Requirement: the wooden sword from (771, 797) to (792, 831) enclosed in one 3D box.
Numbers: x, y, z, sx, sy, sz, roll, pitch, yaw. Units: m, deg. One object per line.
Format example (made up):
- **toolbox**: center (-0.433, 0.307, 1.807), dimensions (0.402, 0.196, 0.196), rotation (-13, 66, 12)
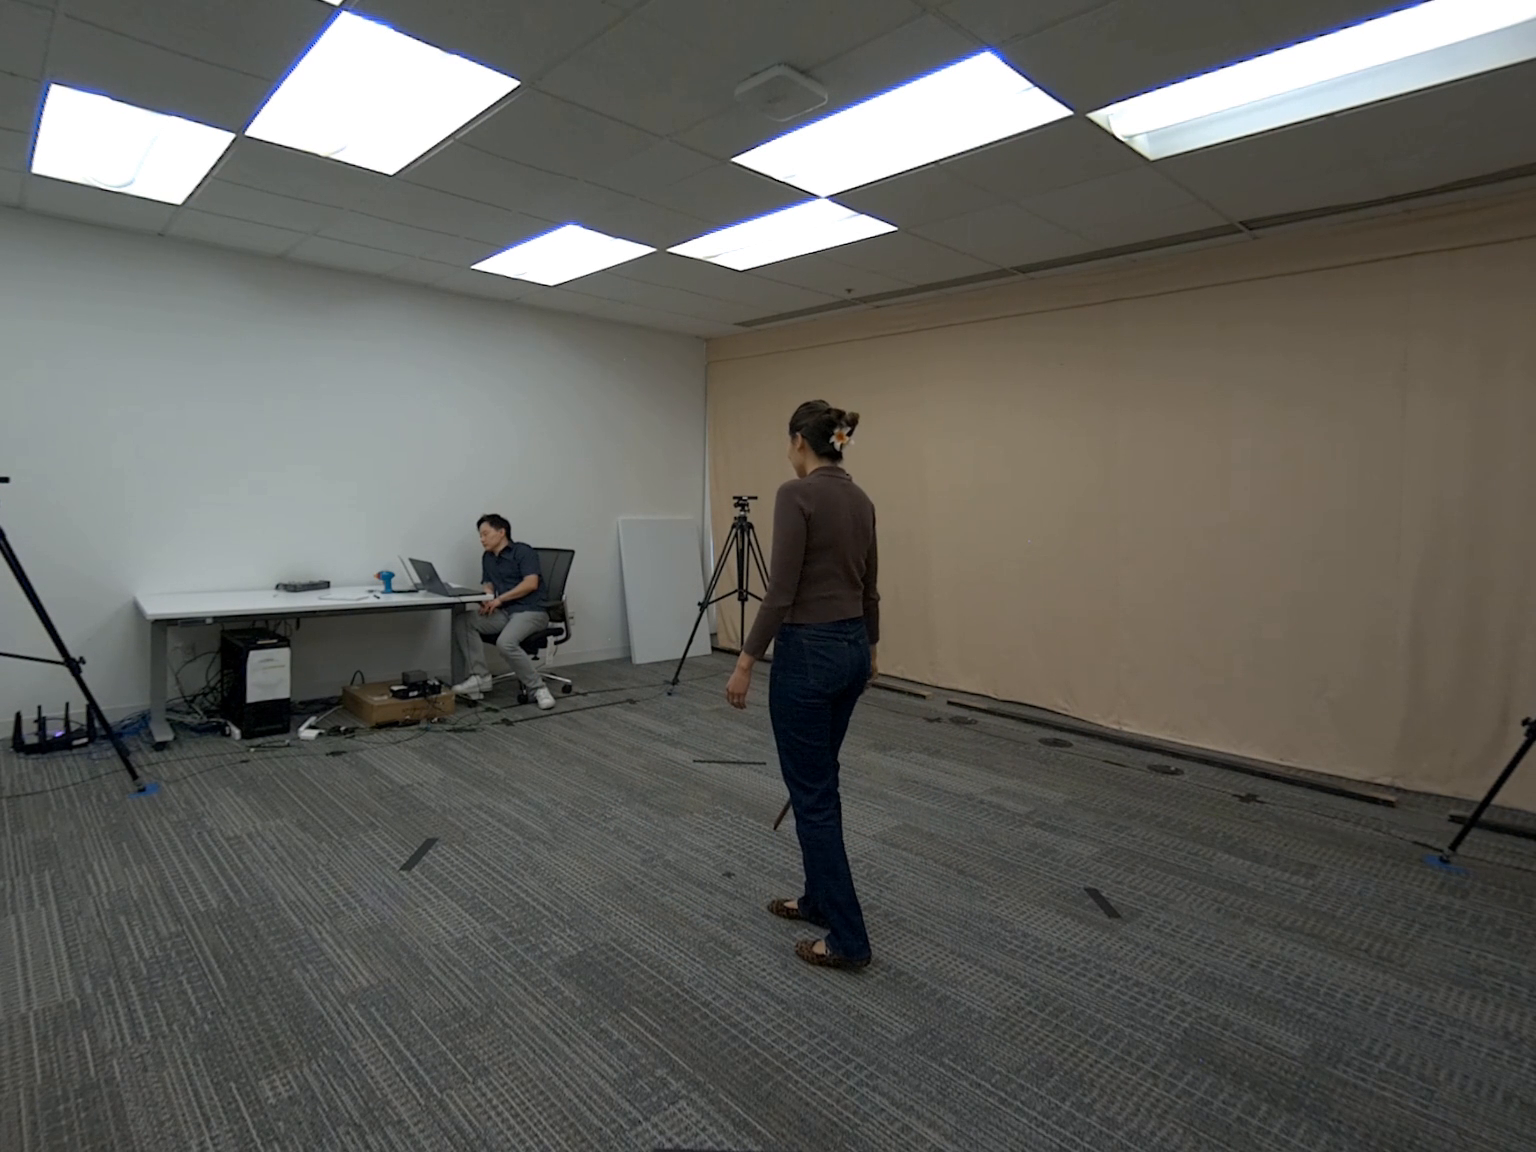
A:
- **wooden sword**: center (0.186, 0.699, 3.243), dimensions (0.024, 1.015, 0.051), rotation (31, 38, 6)
